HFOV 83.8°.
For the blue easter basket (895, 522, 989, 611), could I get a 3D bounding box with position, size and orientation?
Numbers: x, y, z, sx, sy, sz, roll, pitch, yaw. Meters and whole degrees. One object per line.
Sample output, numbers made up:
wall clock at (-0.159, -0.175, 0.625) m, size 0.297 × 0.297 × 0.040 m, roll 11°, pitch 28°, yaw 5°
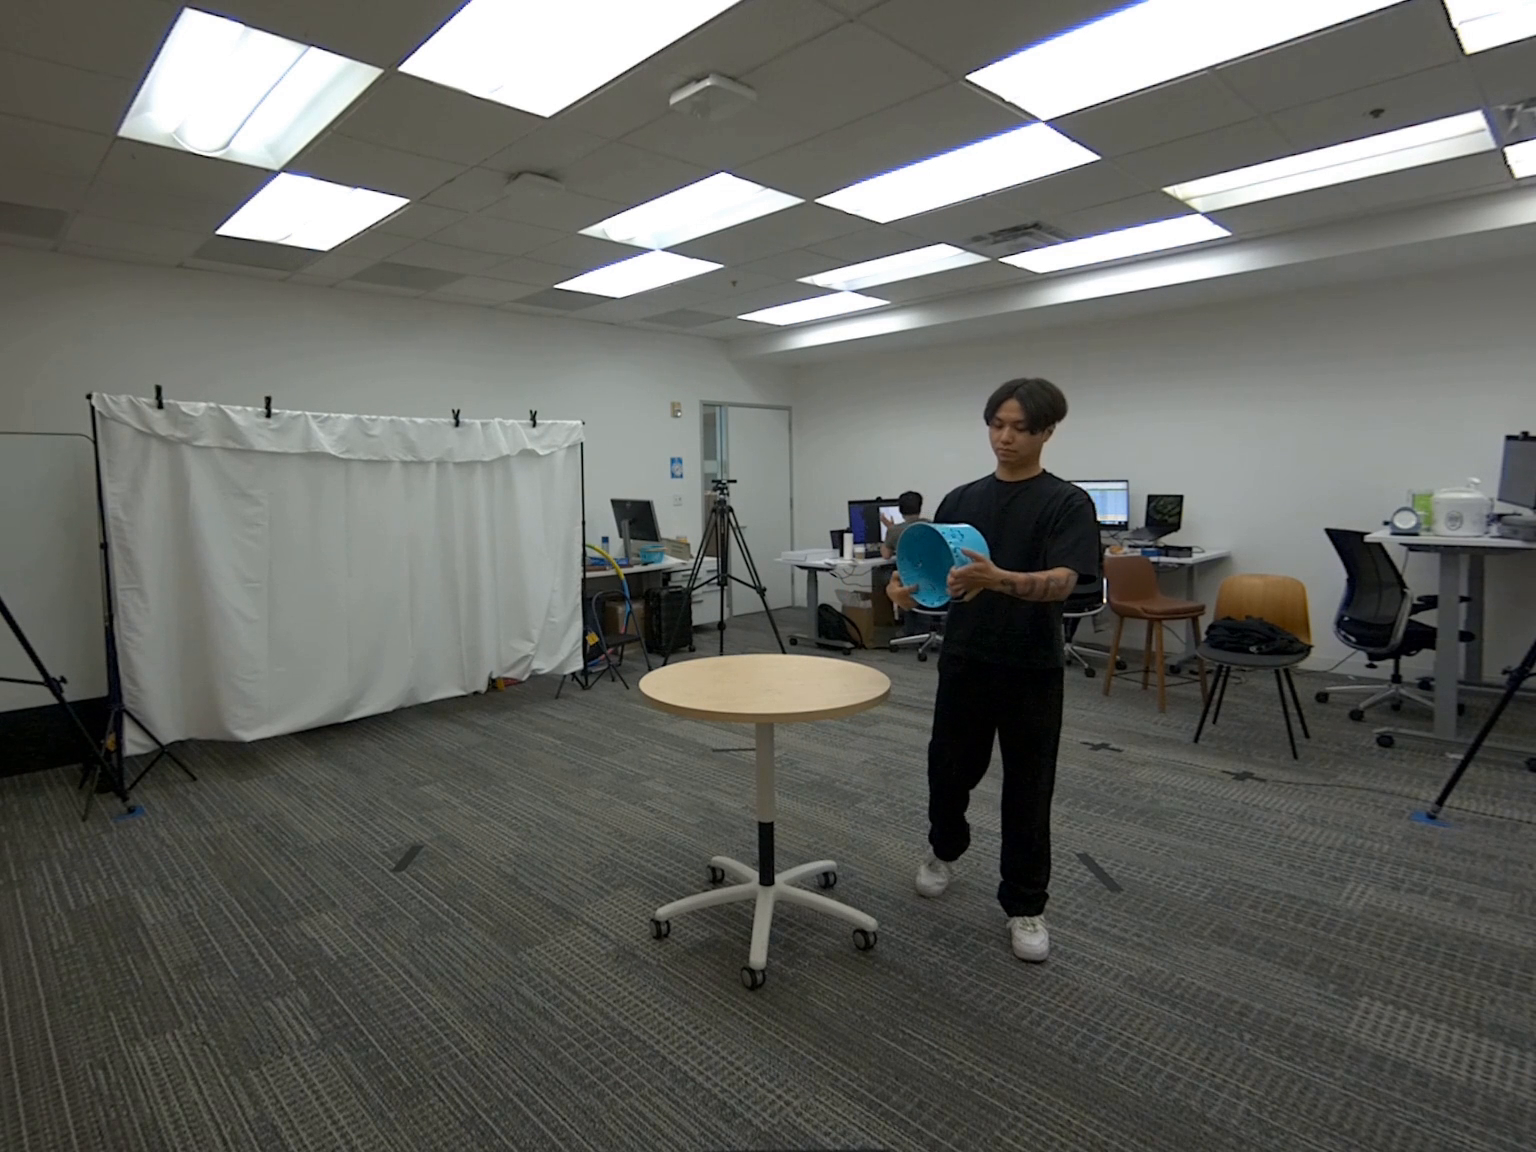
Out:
blue easter basket at (0.495, -0.038, 2.350) m, size 0.153 × 0.242 × 0.250 m, roll -10°, pitch 9°, yaw -30°
